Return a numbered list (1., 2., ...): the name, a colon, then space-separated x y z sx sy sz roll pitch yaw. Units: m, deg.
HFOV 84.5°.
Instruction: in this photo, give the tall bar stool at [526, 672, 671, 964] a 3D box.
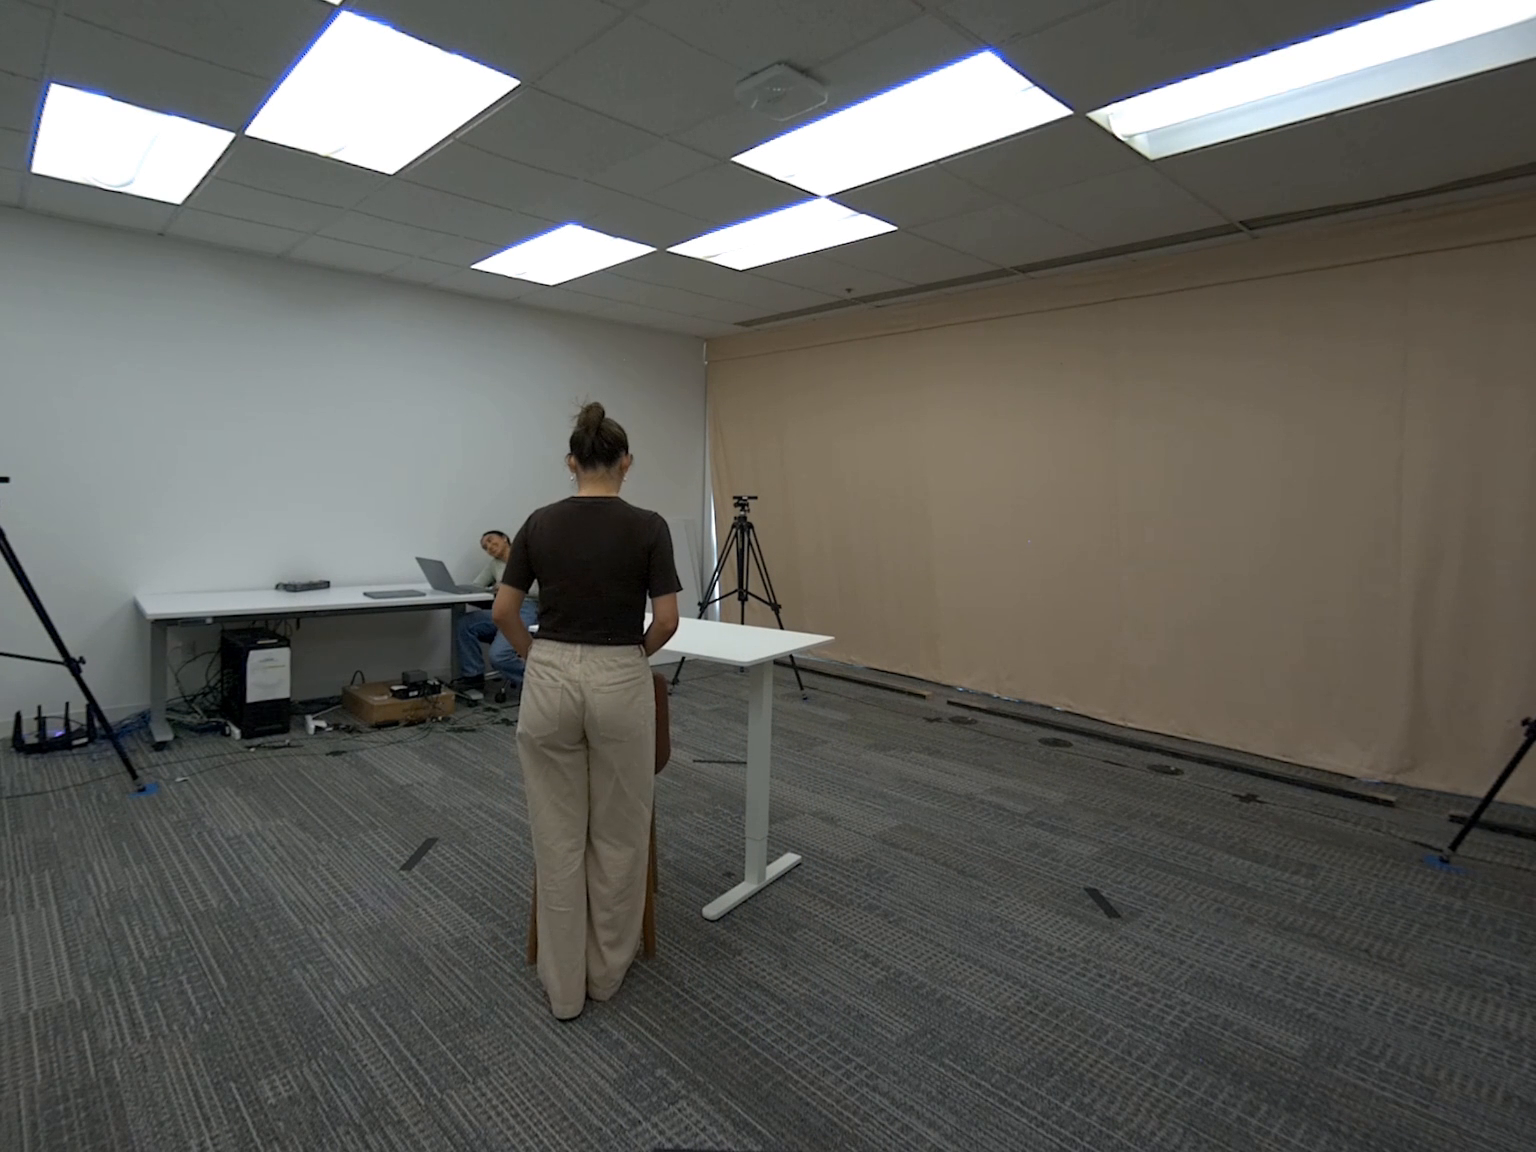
1. tall bar stool: -0.548 0.697 2.689 0.454 0.886 0.472 0 6 -7
